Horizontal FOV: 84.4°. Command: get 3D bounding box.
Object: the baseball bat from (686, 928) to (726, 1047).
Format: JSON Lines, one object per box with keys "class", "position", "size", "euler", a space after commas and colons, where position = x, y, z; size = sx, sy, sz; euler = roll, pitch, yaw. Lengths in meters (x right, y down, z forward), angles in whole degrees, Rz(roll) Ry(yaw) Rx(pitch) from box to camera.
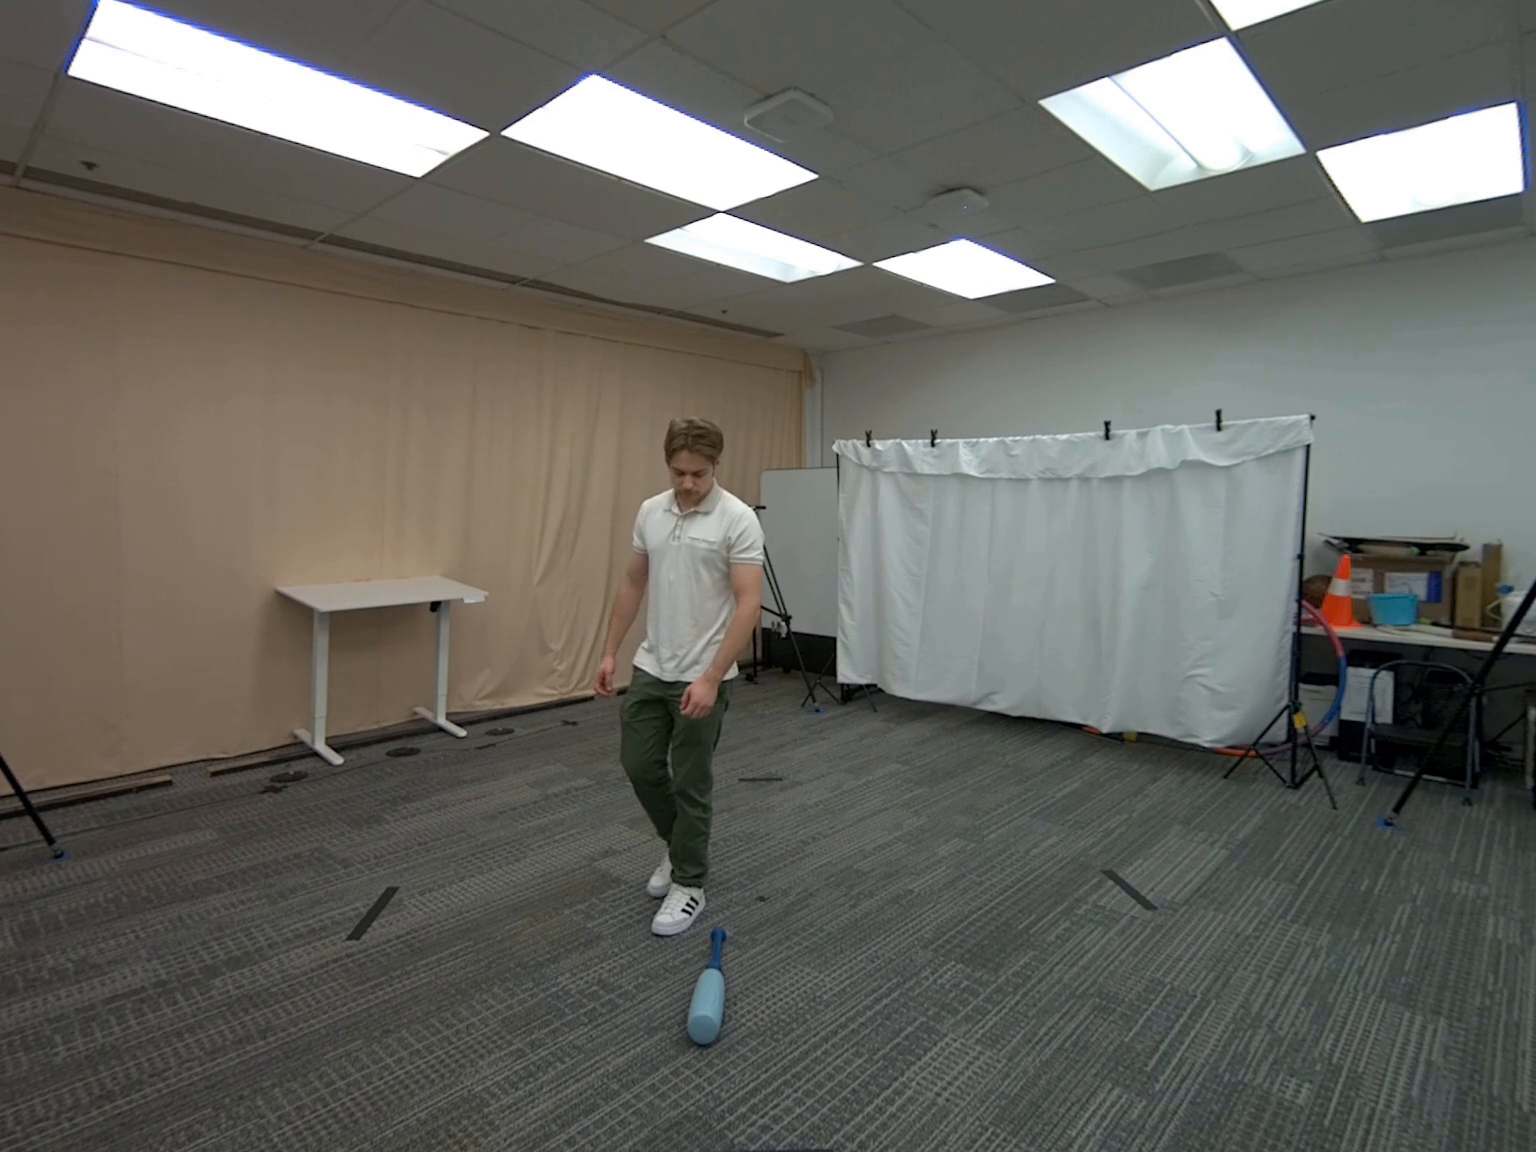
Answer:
{"class": "baseball bat", "position": [-0.156, 1.155, 2.425], "size": [0.089, 0.089, 0.541], "euler": [0, 1, 2]}
